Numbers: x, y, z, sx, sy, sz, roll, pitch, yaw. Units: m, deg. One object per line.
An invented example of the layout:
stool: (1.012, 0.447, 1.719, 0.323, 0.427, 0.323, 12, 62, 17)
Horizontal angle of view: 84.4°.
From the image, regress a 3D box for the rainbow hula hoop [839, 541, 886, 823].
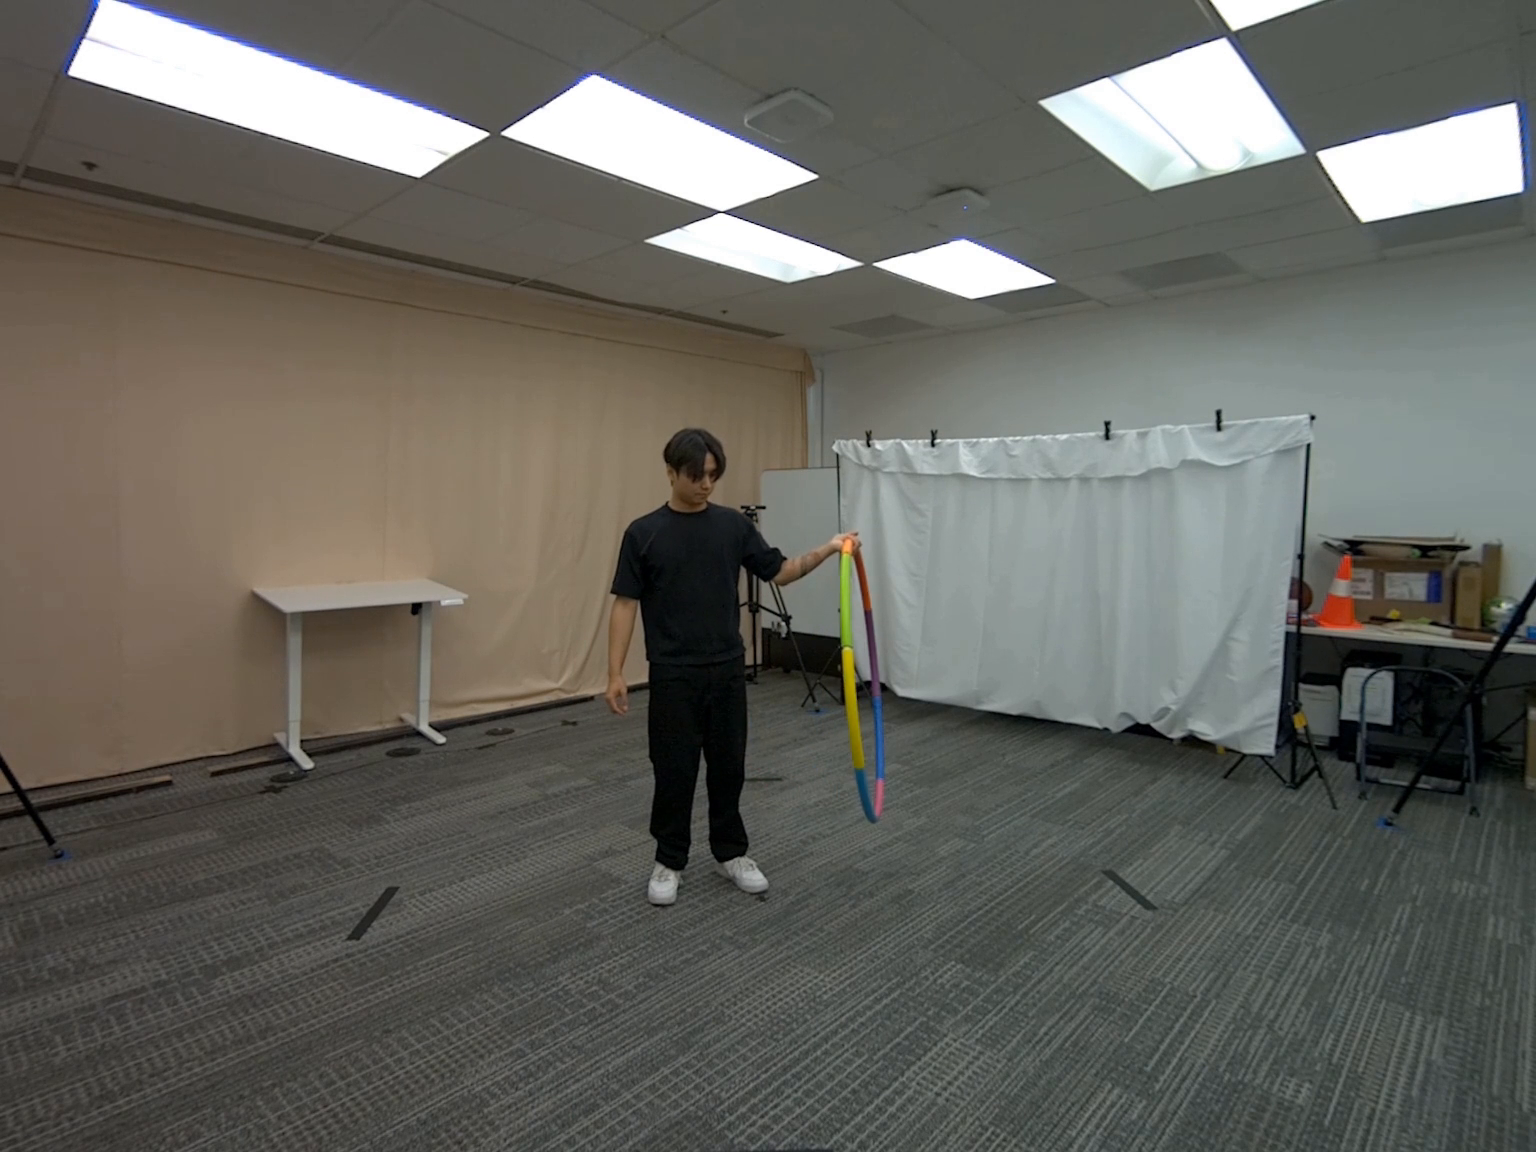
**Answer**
rainbow hula hoop: (0.335, 0.357, 2.992, 0.036, 0.977, 0.967, -5, 3, 12)
